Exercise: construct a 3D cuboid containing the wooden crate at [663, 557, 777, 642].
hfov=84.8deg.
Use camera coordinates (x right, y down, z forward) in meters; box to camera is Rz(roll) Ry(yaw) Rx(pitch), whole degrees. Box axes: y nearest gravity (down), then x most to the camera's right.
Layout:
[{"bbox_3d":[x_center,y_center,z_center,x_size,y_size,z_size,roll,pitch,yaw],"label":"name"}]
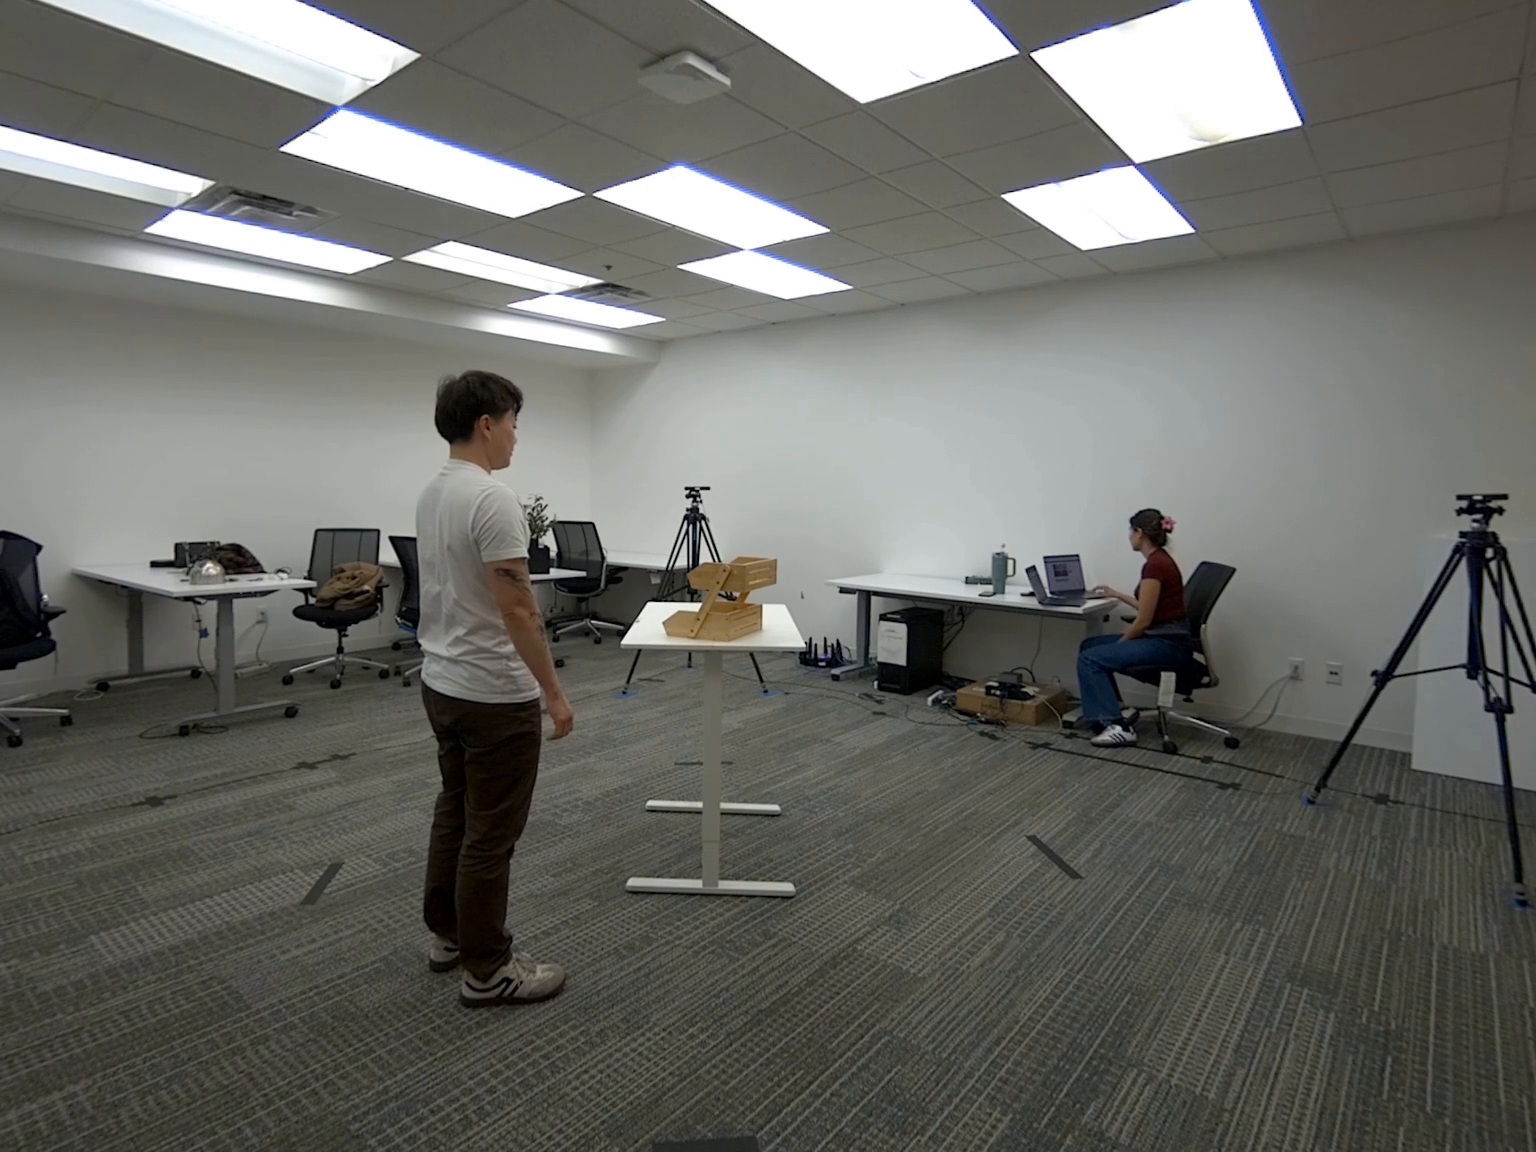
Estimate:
[{"bbox_3d":[-0.170,0.065,2.985,0.309,0.272,0.318,4,5,23],"label":"wooden crate"}]
